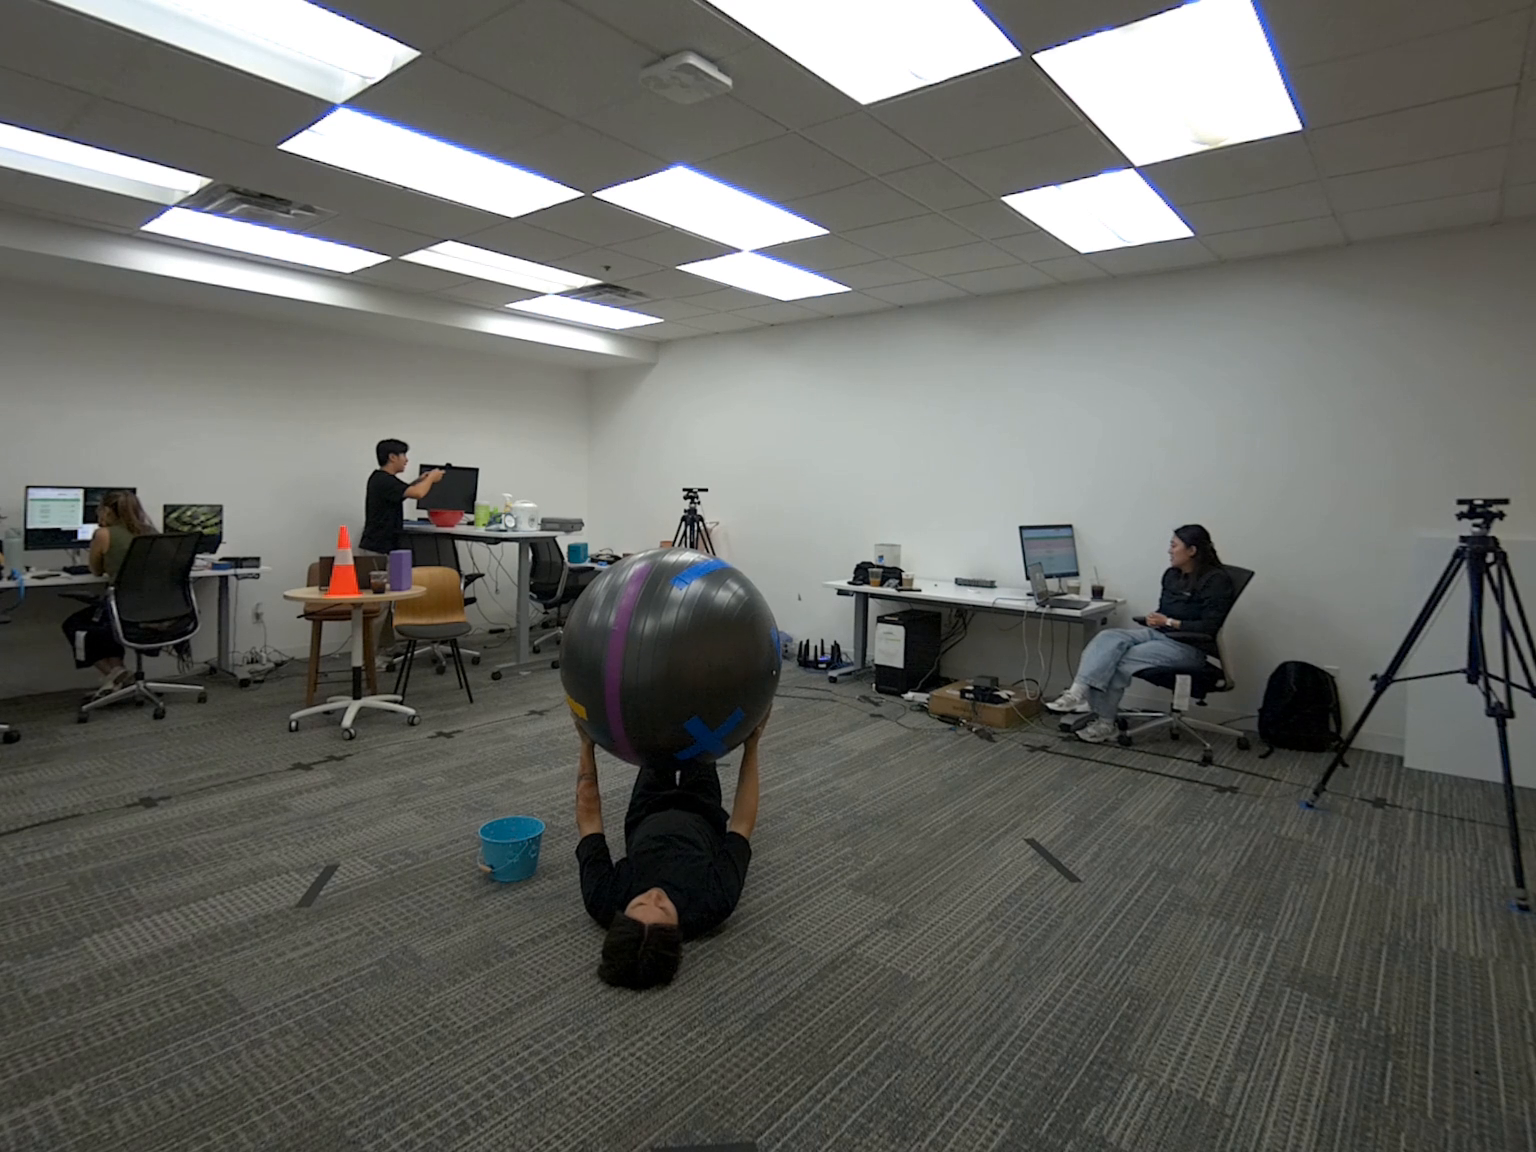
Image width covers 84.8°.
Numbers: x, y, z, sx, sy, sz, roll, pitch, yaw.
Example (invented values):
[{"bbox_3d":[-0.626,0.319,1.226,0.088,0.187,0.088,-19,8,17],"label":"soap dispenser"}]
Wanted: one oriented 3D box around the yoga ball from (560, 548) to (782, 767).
[{"bbox_3d":[-0.342,0.285,2.930,0.757,0.755,0.762,1,4,-2],"label":"yoga ball"}]
